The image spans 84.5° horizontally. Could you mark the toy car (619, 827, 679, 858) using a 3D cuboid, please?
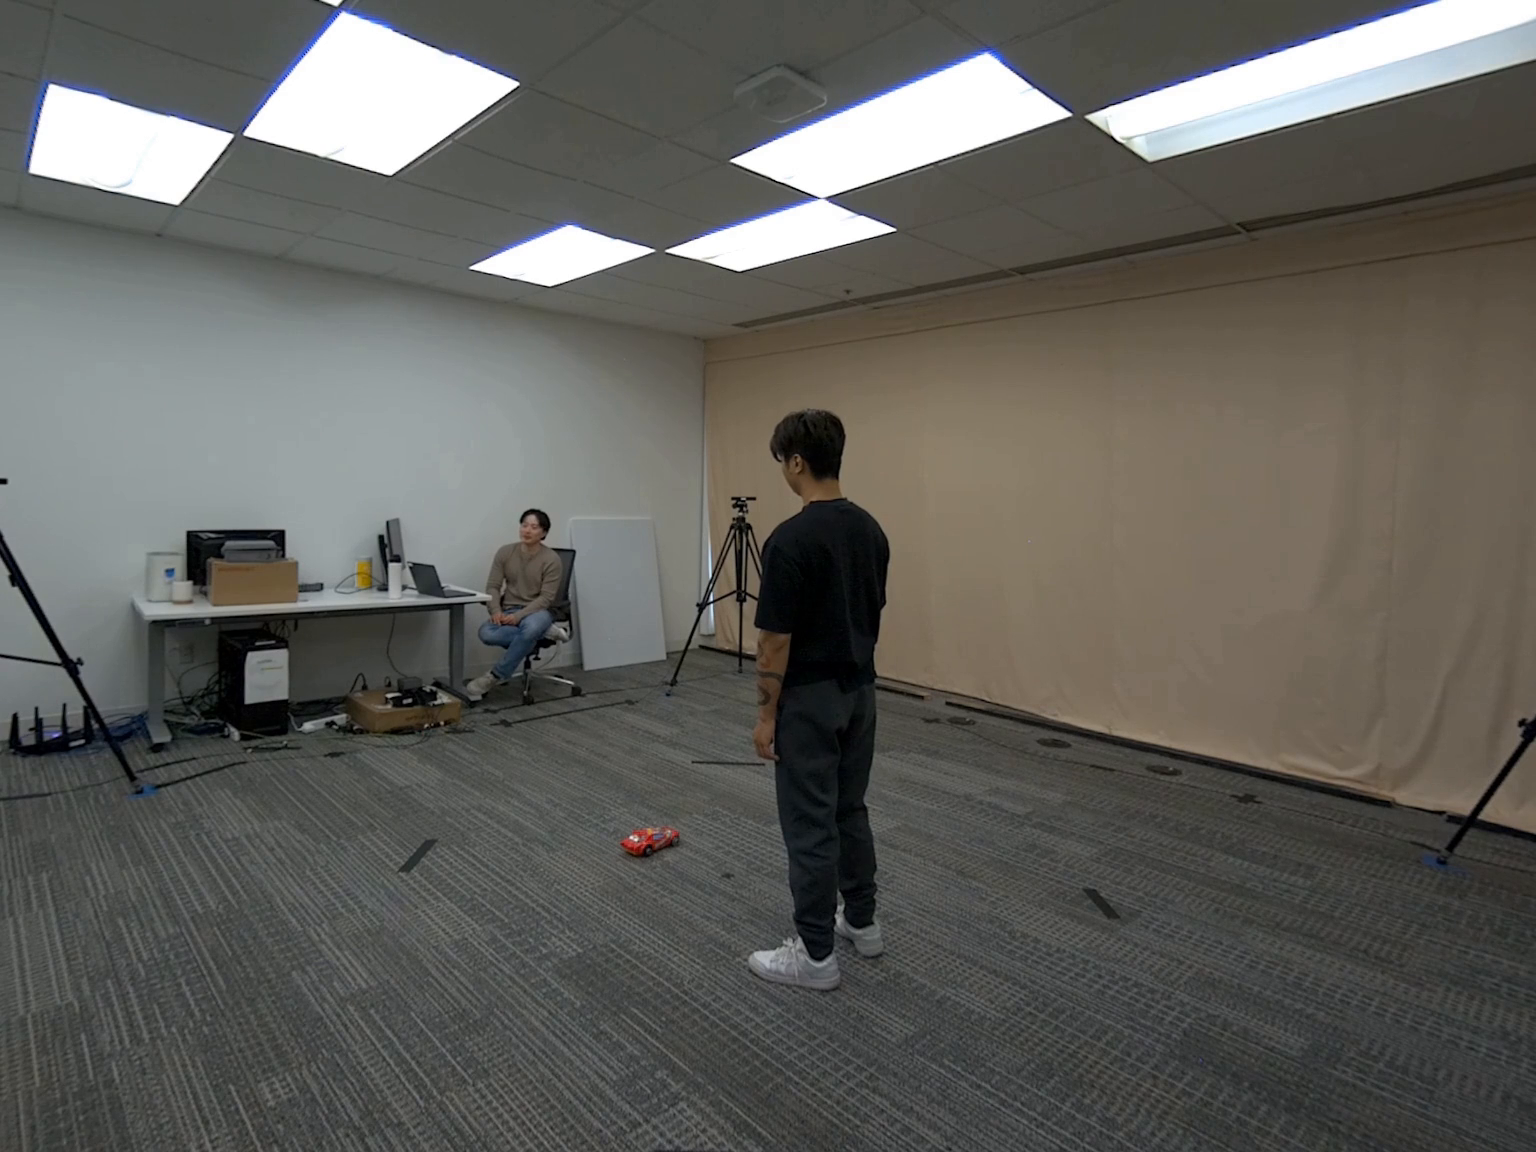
[{"bbox_3d":[-0.479,1.048,3.322,0.134,0.083,0.247,6,-4,42],"label":"toy car"}]
